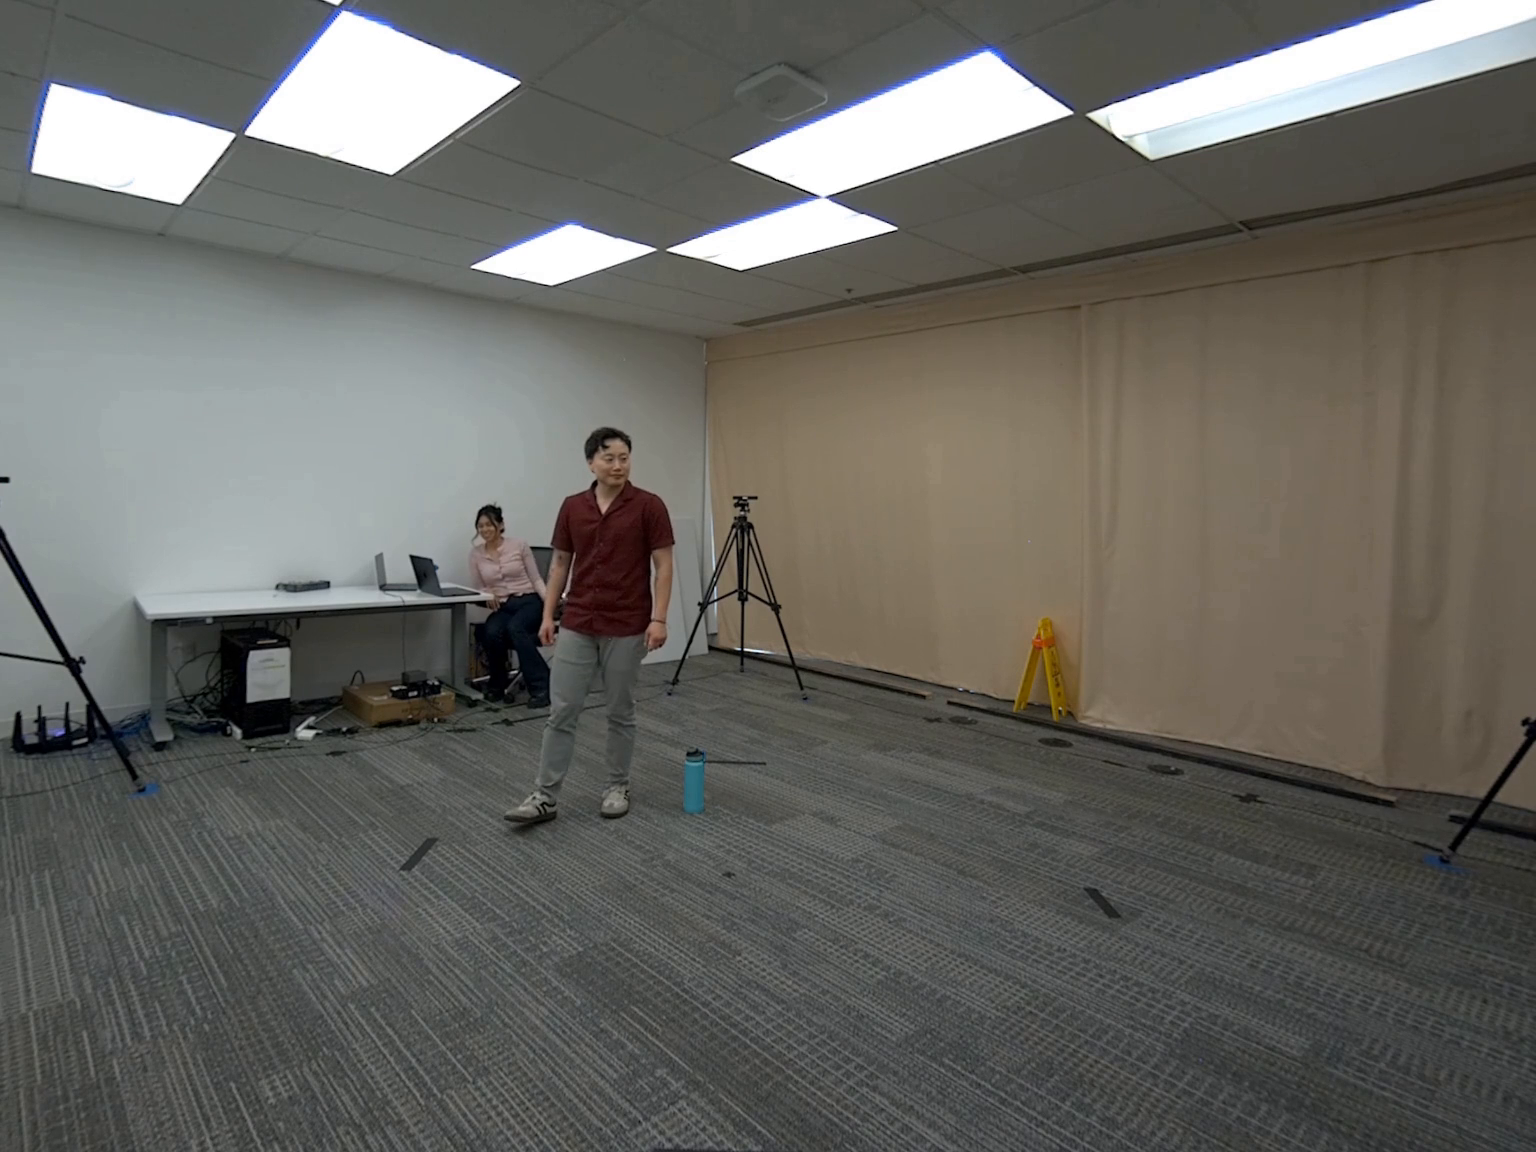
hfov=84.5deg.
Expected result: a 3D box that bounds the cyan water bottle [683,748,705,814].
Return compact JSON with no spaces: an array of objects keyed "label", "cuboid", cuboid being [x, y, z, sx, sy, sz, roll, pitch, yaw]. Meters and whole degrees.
[{"label":"cyan water bottle","cuboid":[-0.342,0.903,3.746,0.092,0.283,0.092,3,3,-2]}]
